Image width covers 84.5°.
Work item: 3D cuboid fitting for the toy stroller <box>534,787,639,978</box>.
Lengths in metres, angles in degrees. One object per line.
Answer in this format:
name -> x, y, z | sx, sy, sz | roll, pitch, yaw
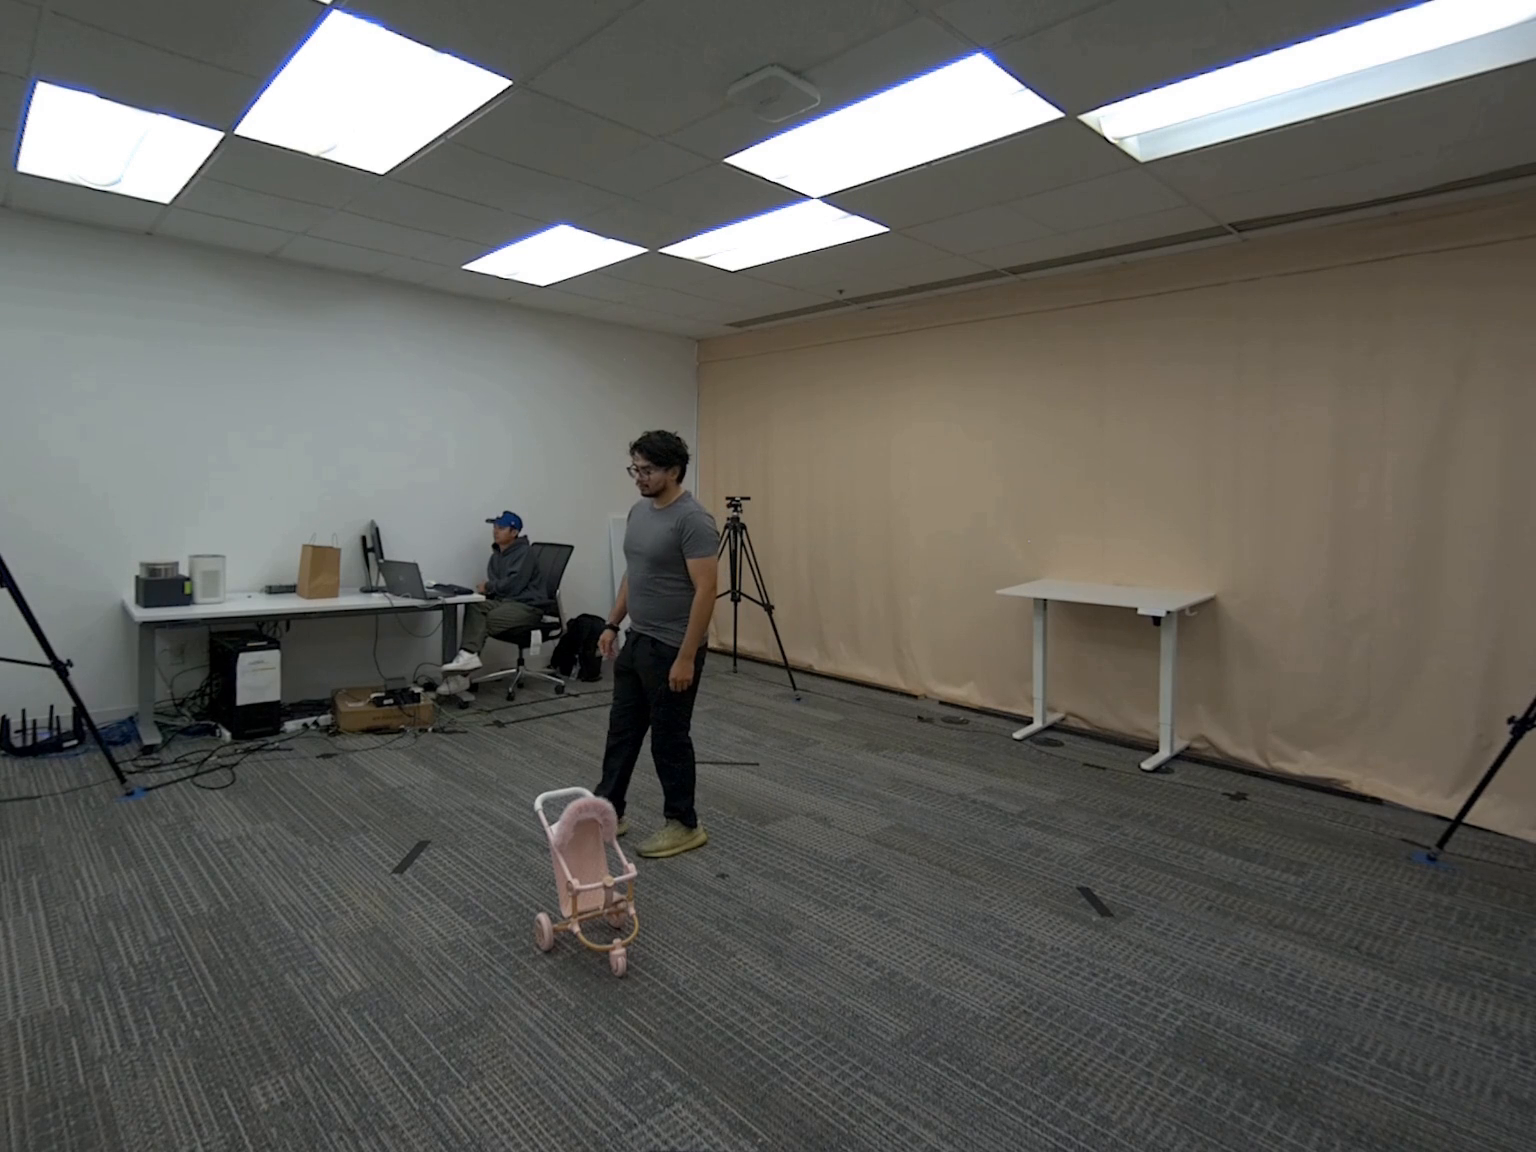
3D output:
toy stroller -> -0.564, 0.926, 2.585 | 0.275, 0.540, 0.345 | -1, -13, -33
